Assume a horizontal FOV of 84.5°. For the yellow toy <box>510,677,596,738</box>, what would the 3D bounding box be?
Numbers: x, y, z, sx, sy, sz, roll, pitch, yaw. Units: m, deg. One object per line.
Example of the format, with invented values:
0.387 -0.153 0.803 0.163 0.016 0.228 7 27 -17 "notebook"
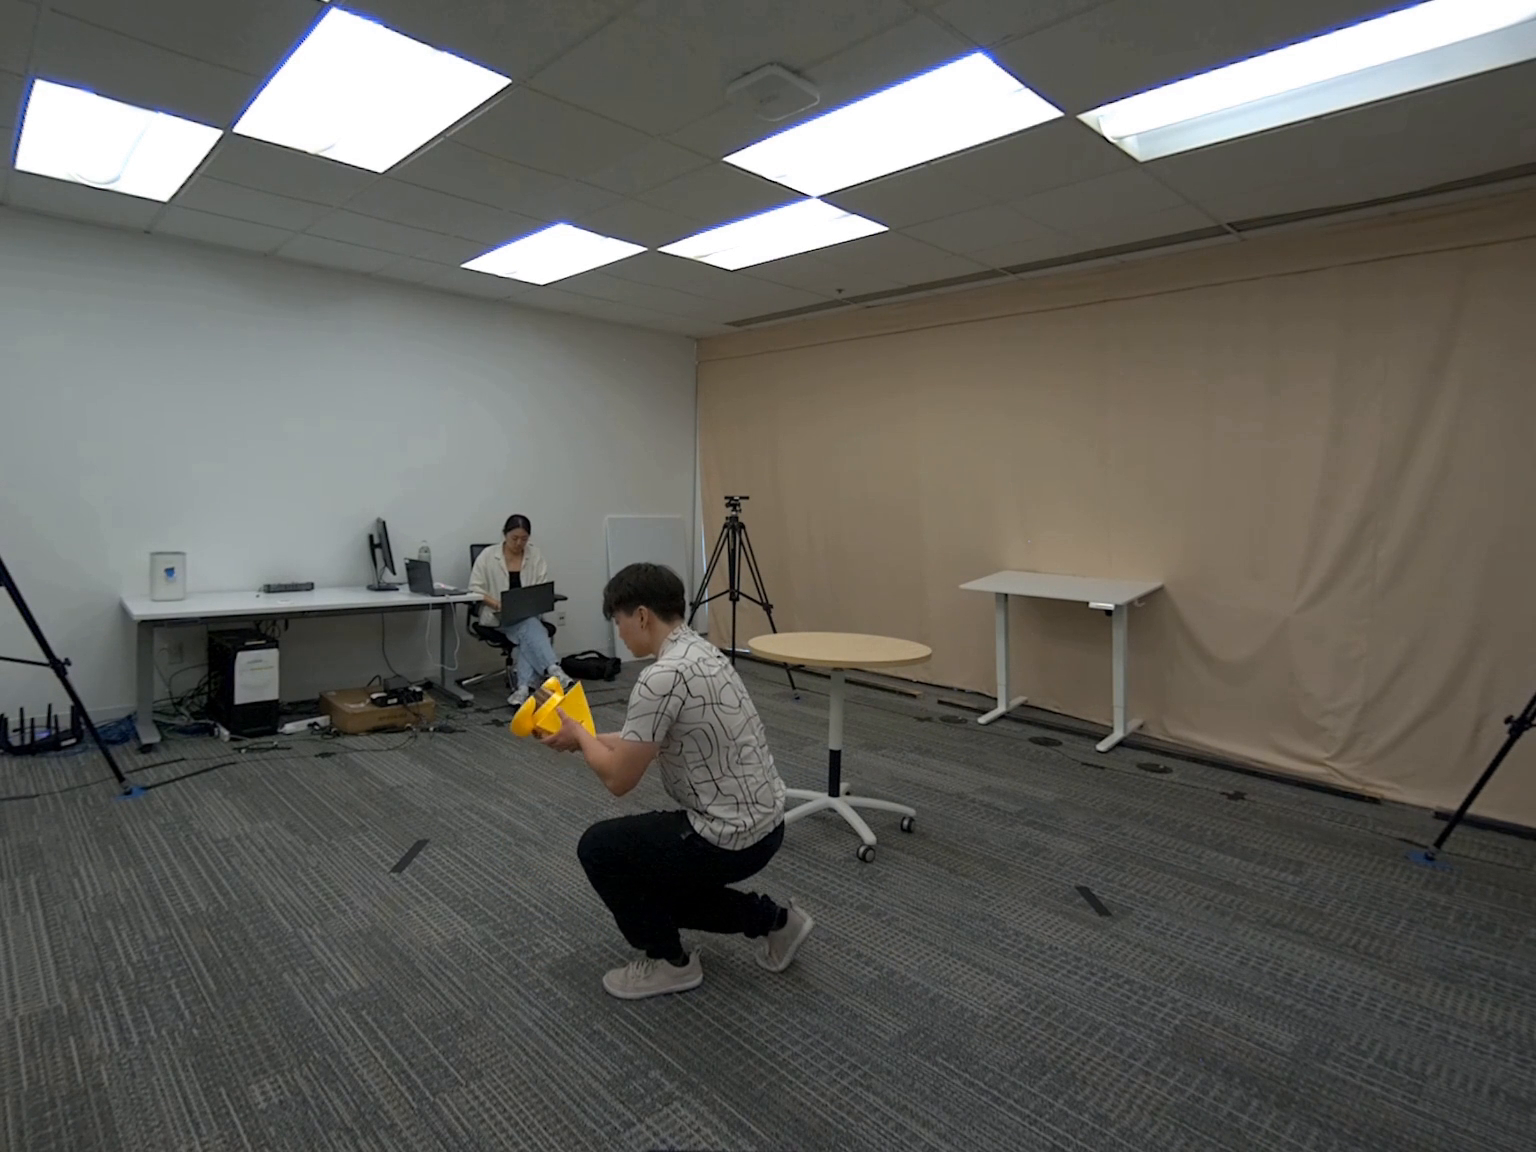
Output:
-0.634 0.454 2.570 0.232 0.191 0.205 37 45 6 "yellow toy"
